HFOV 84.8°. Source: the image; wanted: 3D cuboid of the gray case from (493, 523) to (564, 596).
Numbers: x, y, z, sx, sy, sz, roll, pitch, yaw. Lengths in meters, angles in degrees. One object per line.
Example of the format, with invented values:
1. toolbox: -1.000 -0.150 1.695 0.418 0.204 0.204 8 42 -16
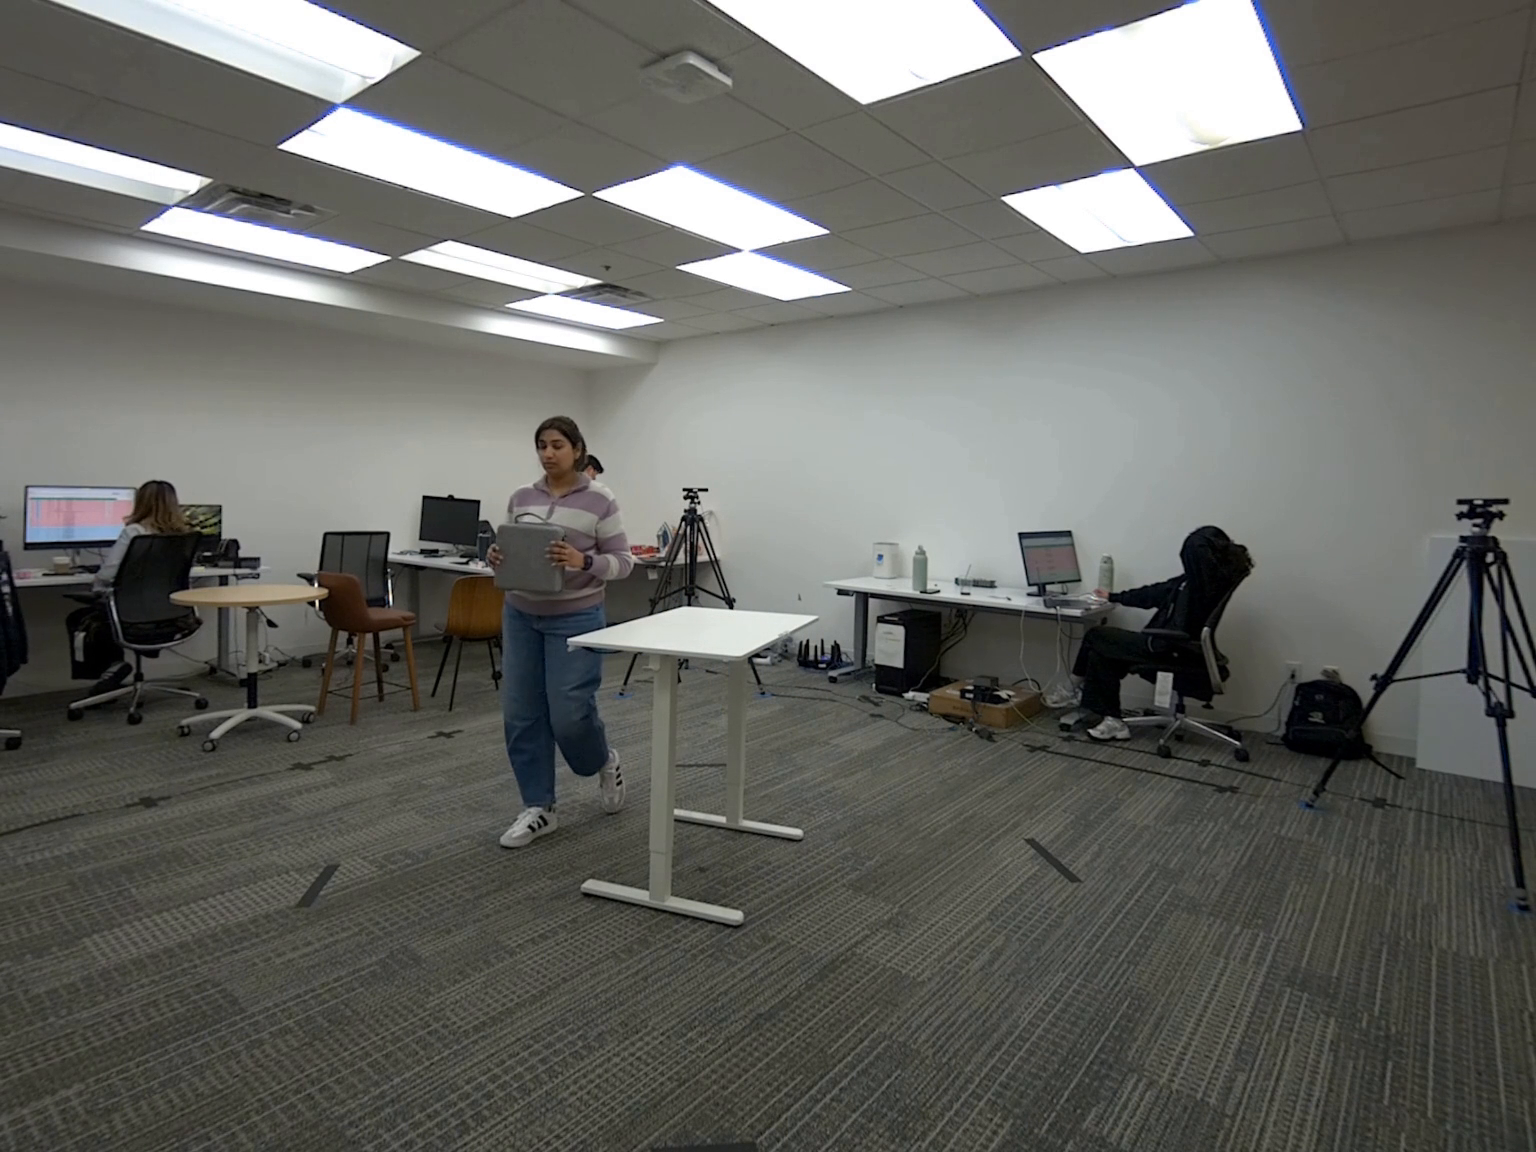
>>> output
1. gray case: -0.906 -0.072 3.178 0.260 0.259 0.104 4 5 9
